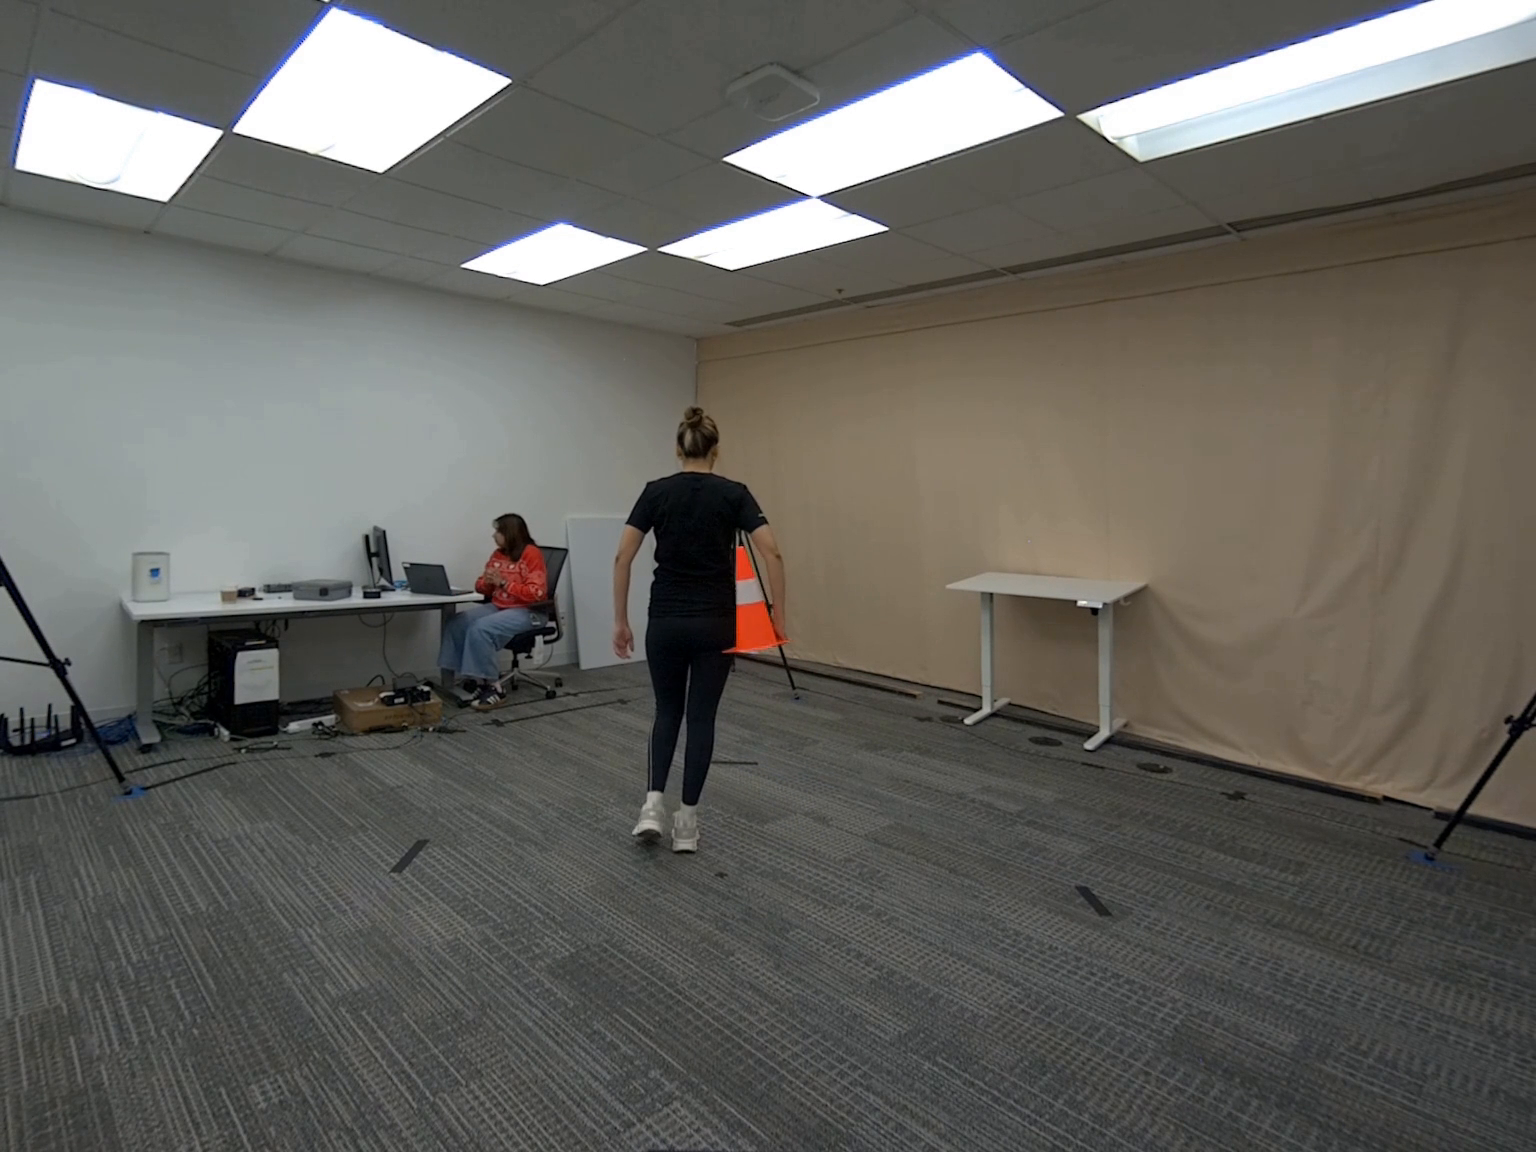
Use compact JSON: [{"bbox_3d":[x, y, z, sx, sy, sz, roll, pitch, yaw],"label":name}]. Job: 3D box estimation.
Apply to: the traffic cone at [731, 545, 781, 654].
[{"bbox_3d":[-0.089,0.076,3.205,0.201,0.383,0.207,-10,1,-34],"label":"traffic cone"}]
